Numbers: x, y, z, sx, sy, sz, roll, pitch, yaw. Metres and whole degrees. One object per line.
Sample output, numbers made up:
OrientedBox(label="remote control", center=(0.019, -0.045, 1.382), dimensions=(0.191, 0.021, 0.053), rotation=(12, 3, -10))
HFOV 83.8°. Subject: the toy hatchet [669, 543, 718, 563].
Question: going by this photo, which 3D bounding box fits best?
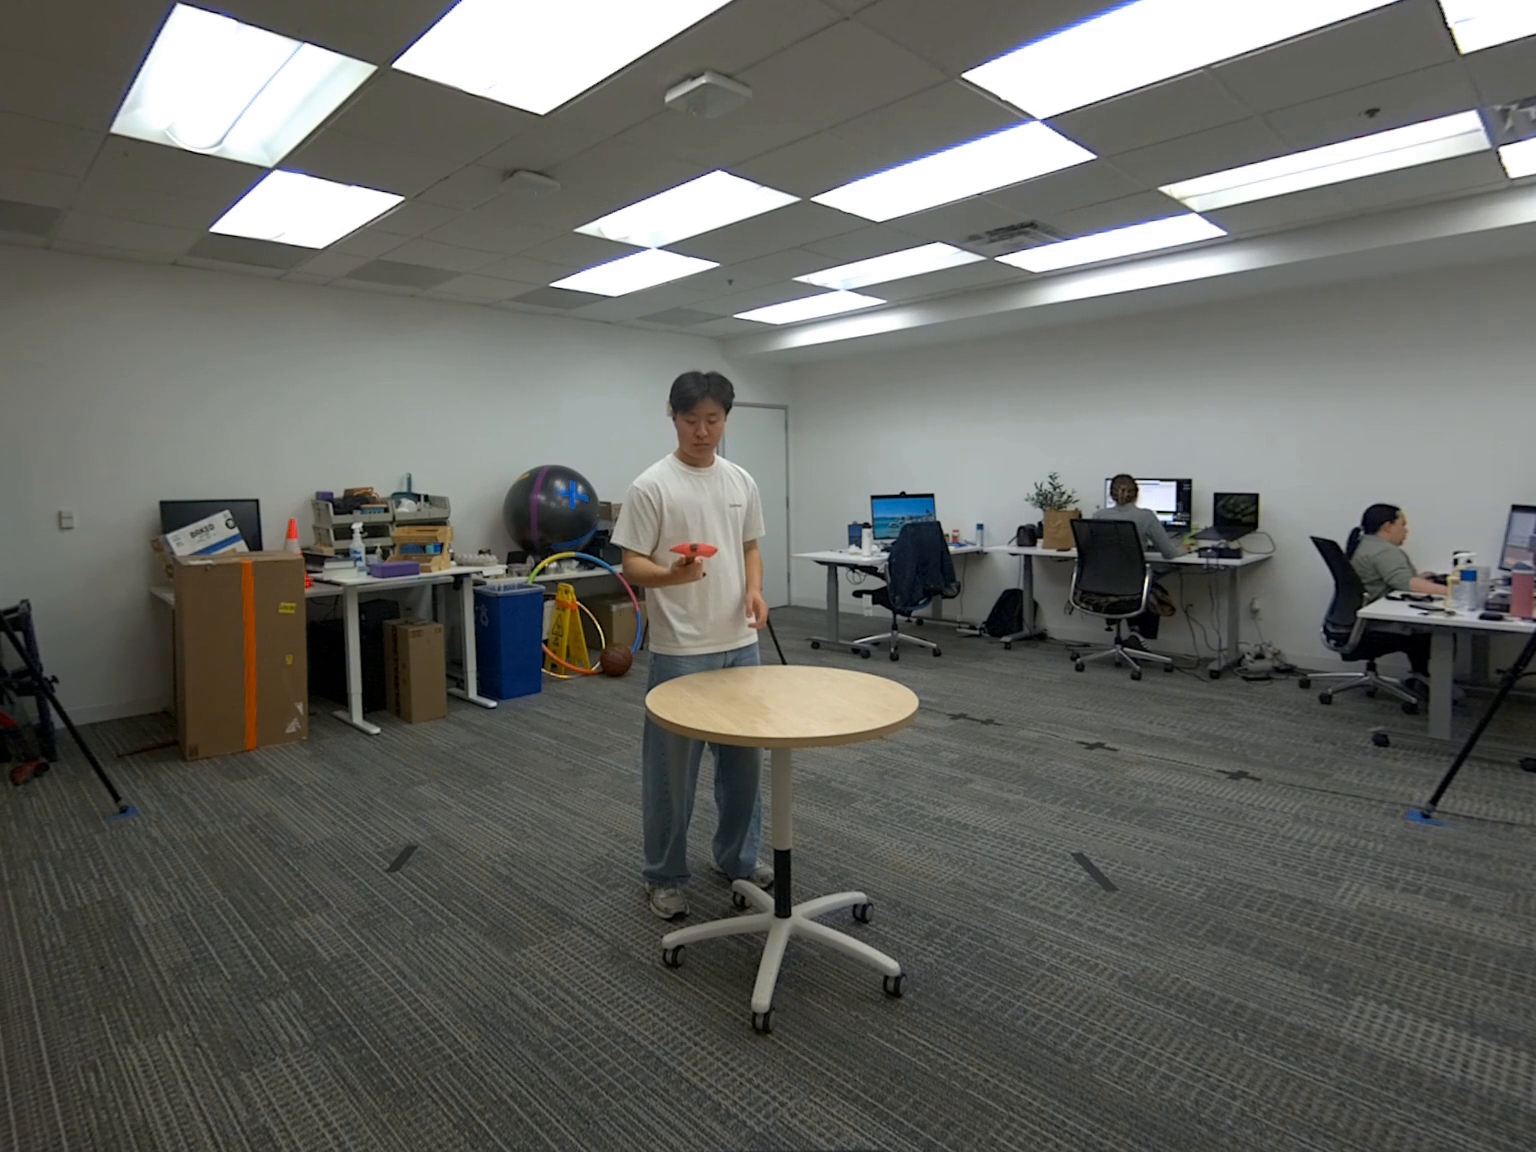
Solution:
OrientedBox(label="toy hatchet", center=(-0.186, -0.042, 2.458), dimensions=(0.132, 0.030, 0.263), rotation=(-8, -16, 9))
